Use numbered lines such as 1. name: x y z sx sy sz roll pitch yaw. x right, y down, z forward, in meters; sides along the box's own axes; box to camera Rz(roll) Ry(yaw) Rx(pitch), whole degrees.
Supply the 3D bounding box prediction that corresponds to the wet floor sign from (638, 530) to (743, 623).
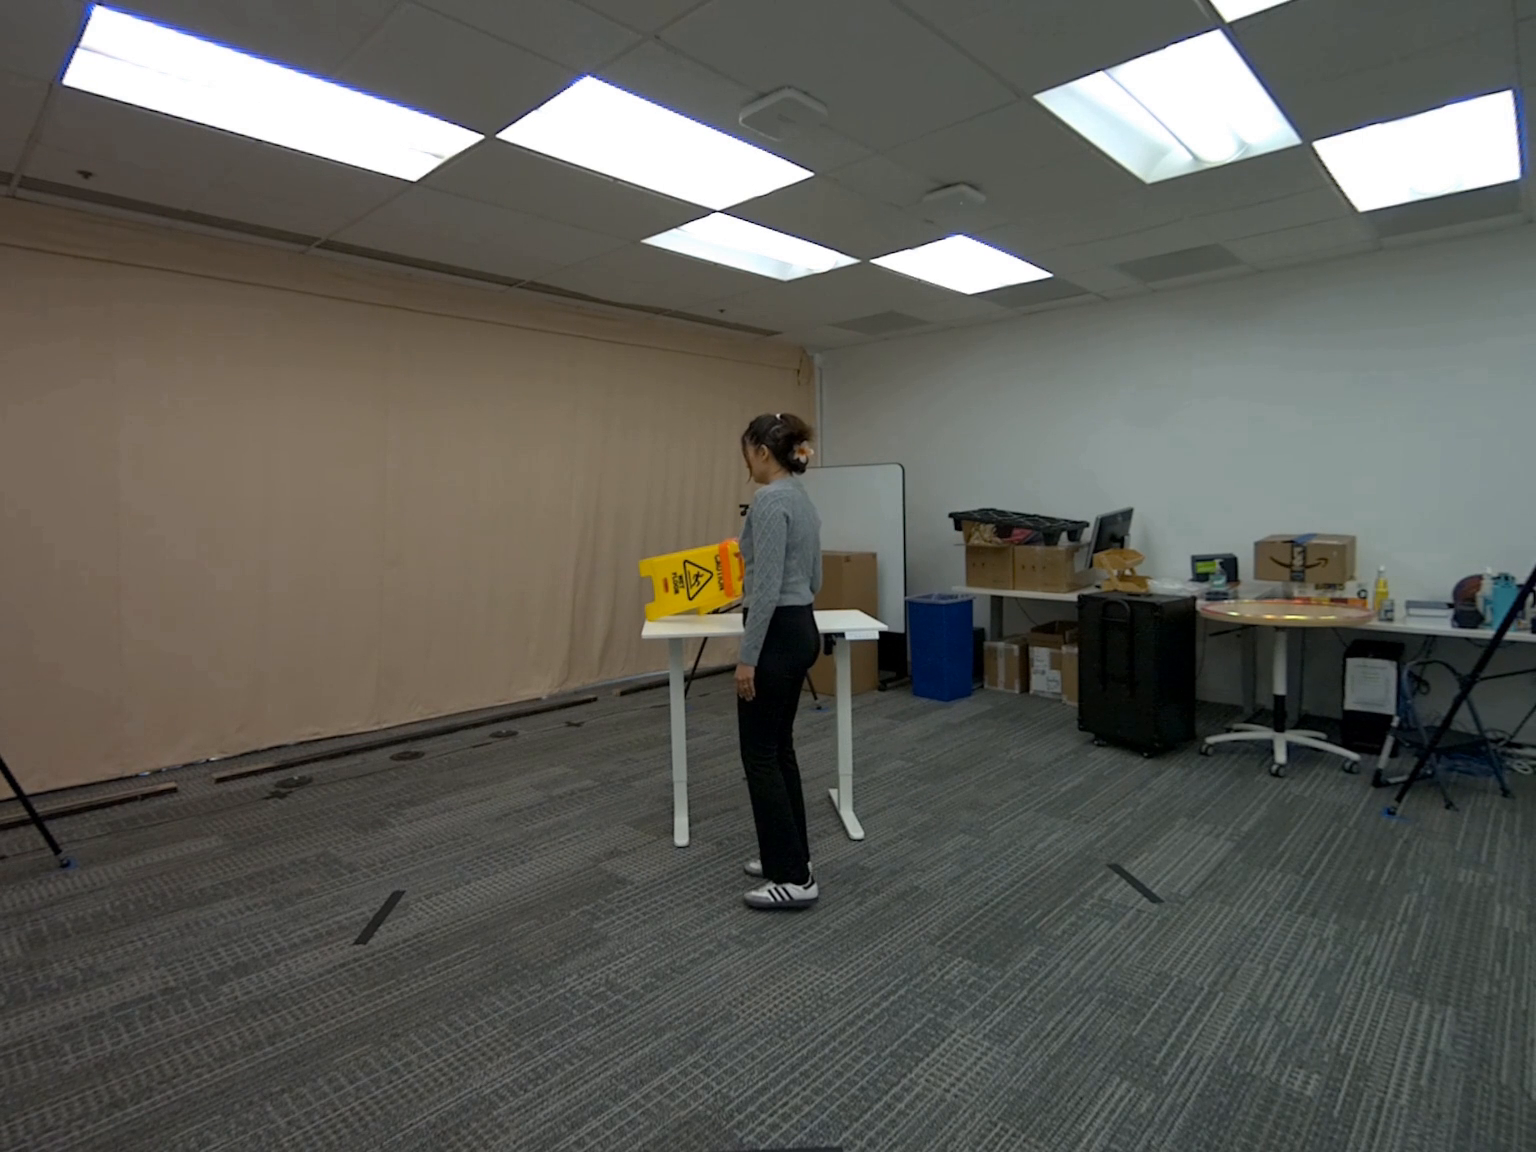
1. wet floor sign: -0.259 0.006 3.657 0.281 0.284 0.662 -3 -8 -38
